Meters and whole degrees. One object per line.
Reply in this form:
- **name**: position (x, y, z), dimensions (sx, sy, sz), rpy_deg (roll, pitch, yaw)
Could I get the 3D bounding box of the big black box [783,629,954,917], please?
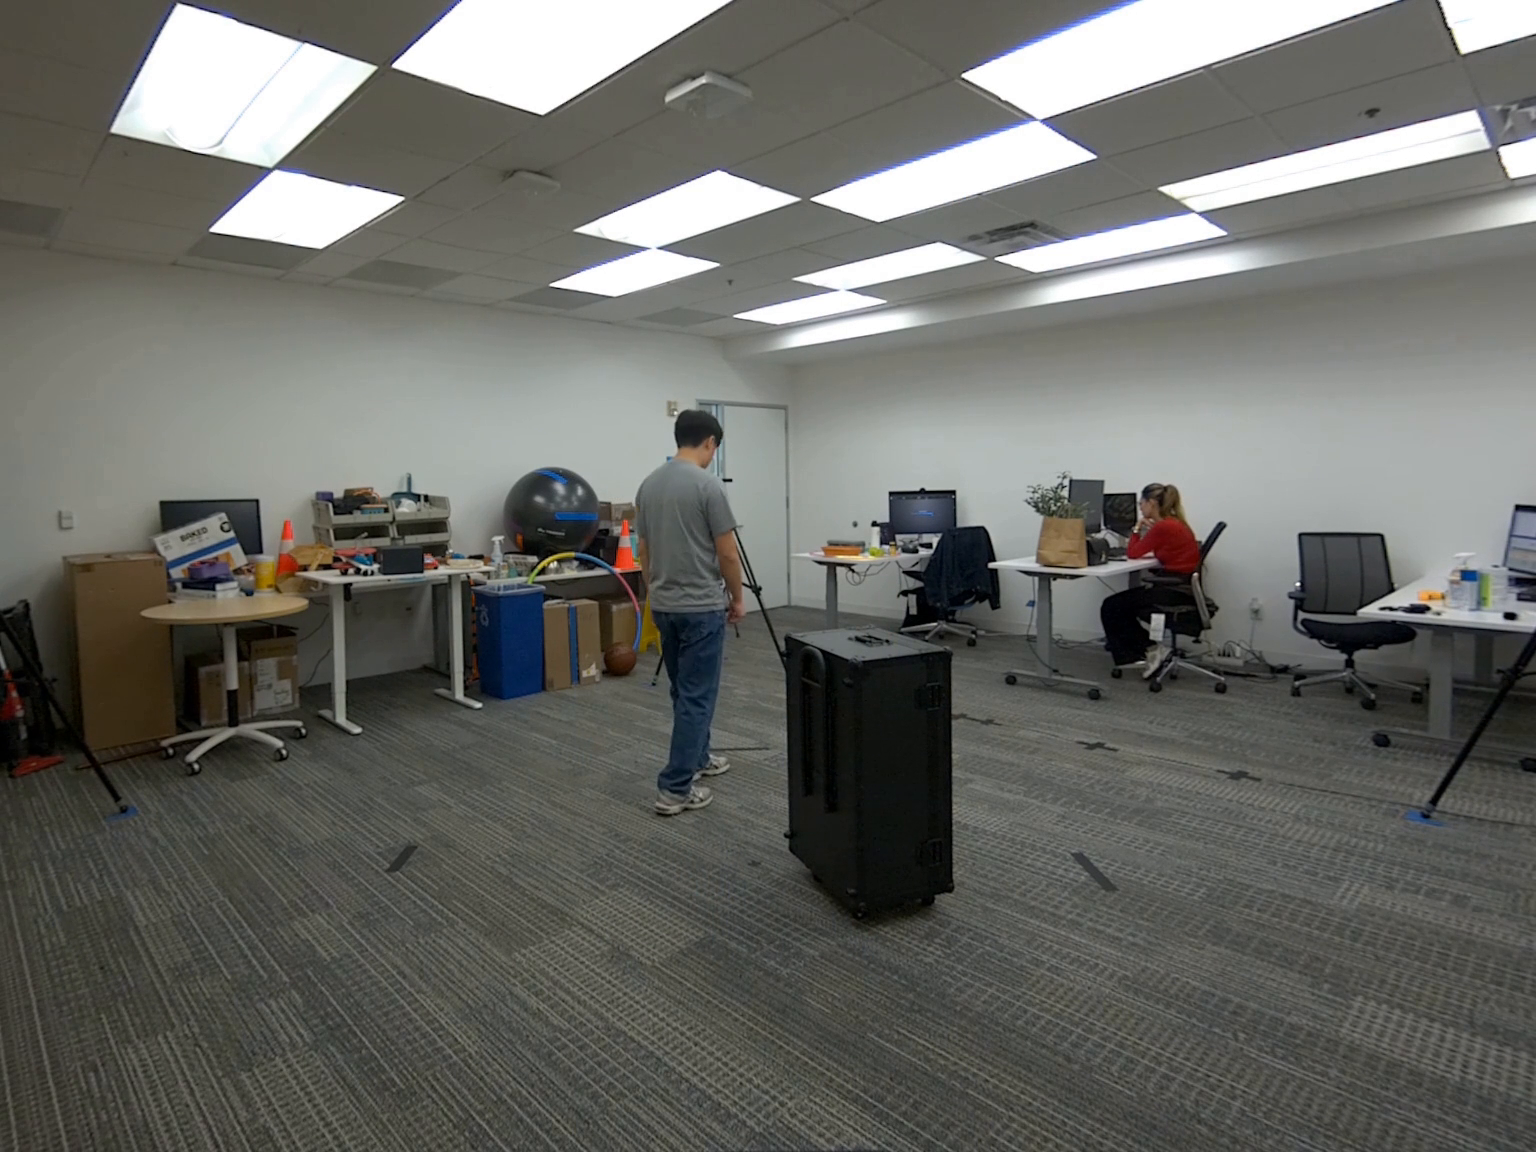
- **big black box**: position (0.323, 0.641, 2.851), dimensions (0.389, 0.858, 0.533), rpy_deg (-4, 5, -23)
